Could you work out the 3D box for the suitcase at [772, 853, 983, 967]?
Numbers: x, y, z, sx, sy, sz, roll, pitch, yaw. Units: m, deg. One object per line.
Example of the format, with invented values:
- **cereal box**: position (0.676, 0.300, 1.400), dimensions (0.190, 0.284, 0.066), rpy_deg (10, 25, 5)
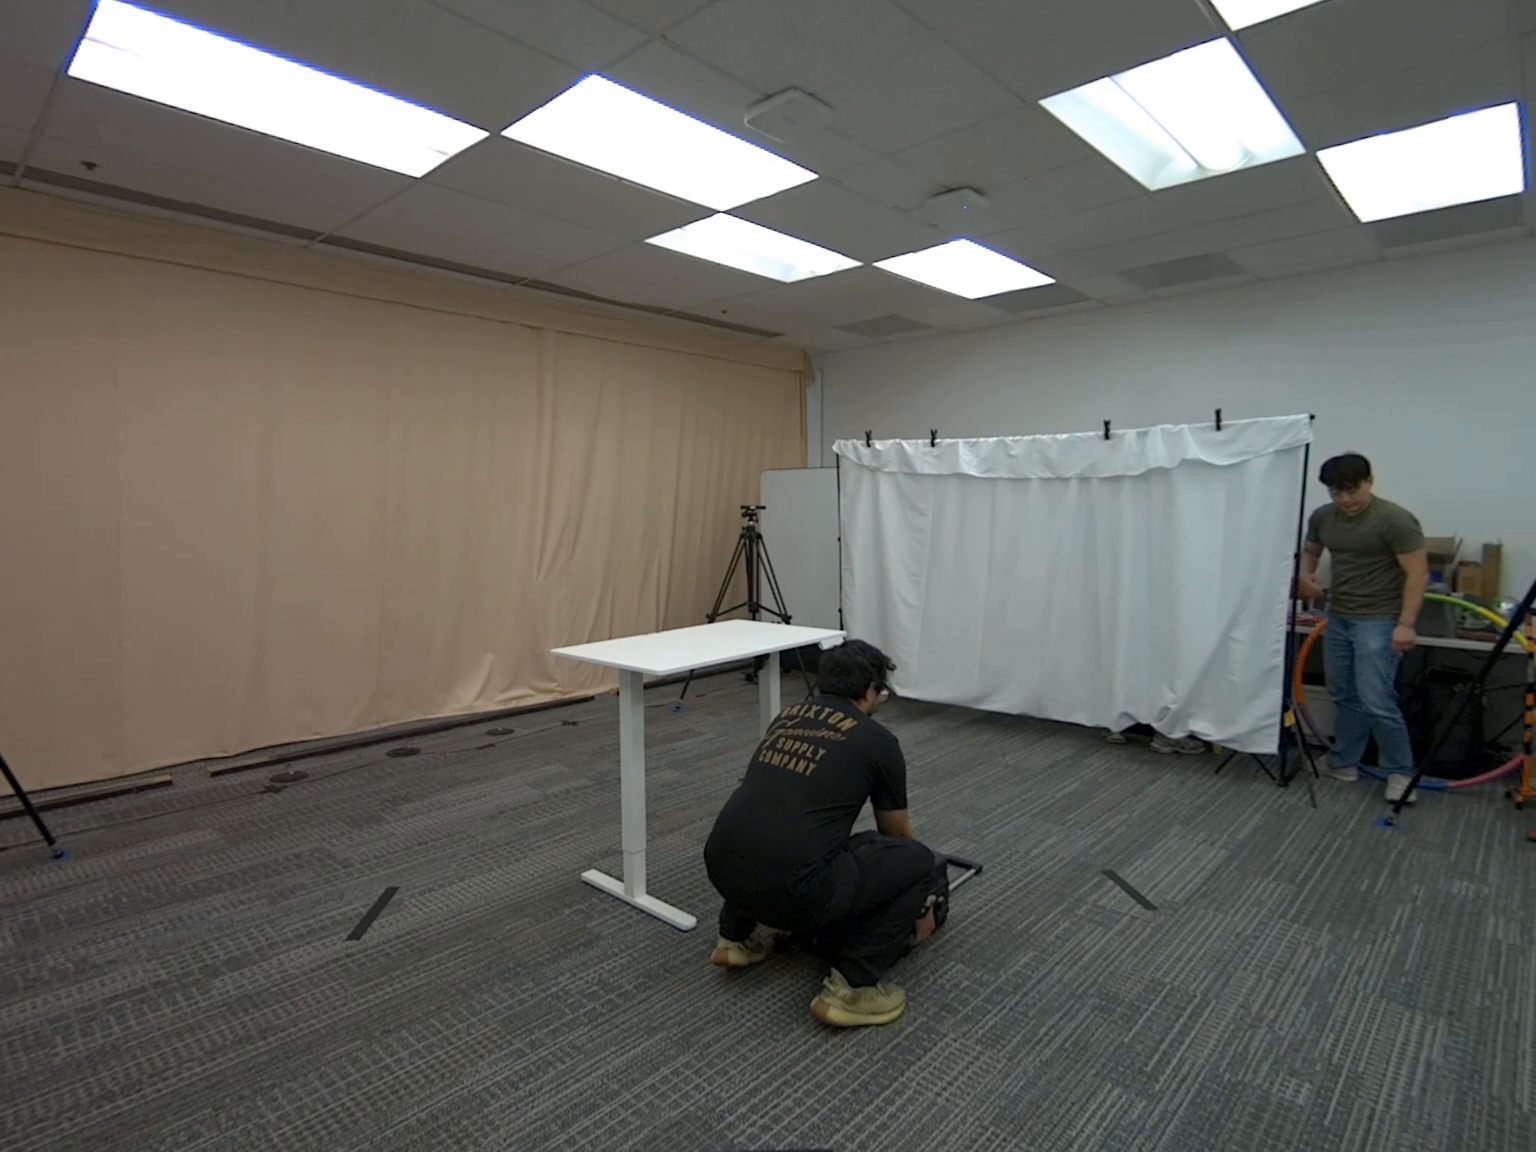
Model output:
- **suitcase**: position (0.470, 1.029, 2.875), dimensions (0.396, 0.256, 0.951), rpy_deg (2, 8, 38)
